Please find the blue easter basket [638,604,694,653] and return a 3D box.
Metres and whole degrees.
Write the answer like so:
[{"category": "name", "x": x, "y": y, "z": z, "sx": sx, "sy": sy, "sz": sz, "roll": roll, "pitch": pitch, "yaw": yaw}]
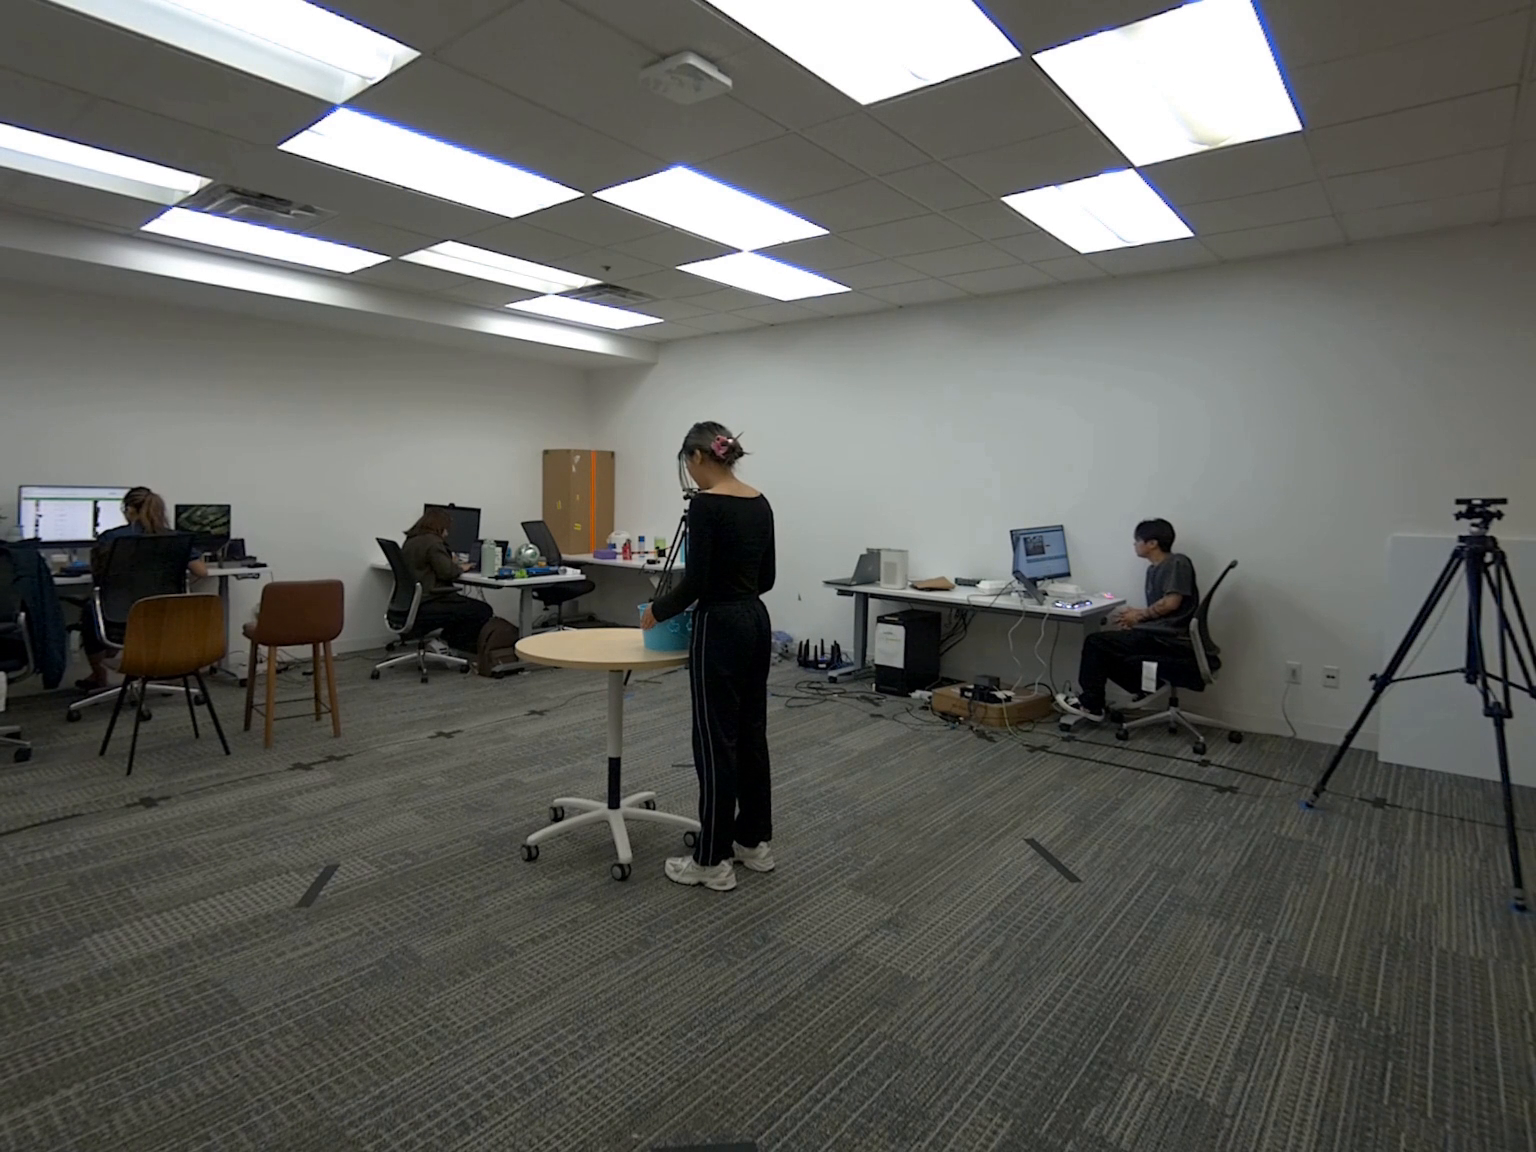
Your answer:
[{"category": "blue easter basket", "x": -0.383, "y": 0.194, "z": 3.257, "sx": 0.243, "sy": 0.155, "sz": 0.245, "roll": 1, "pitch": 5, "yaw": -2}]
